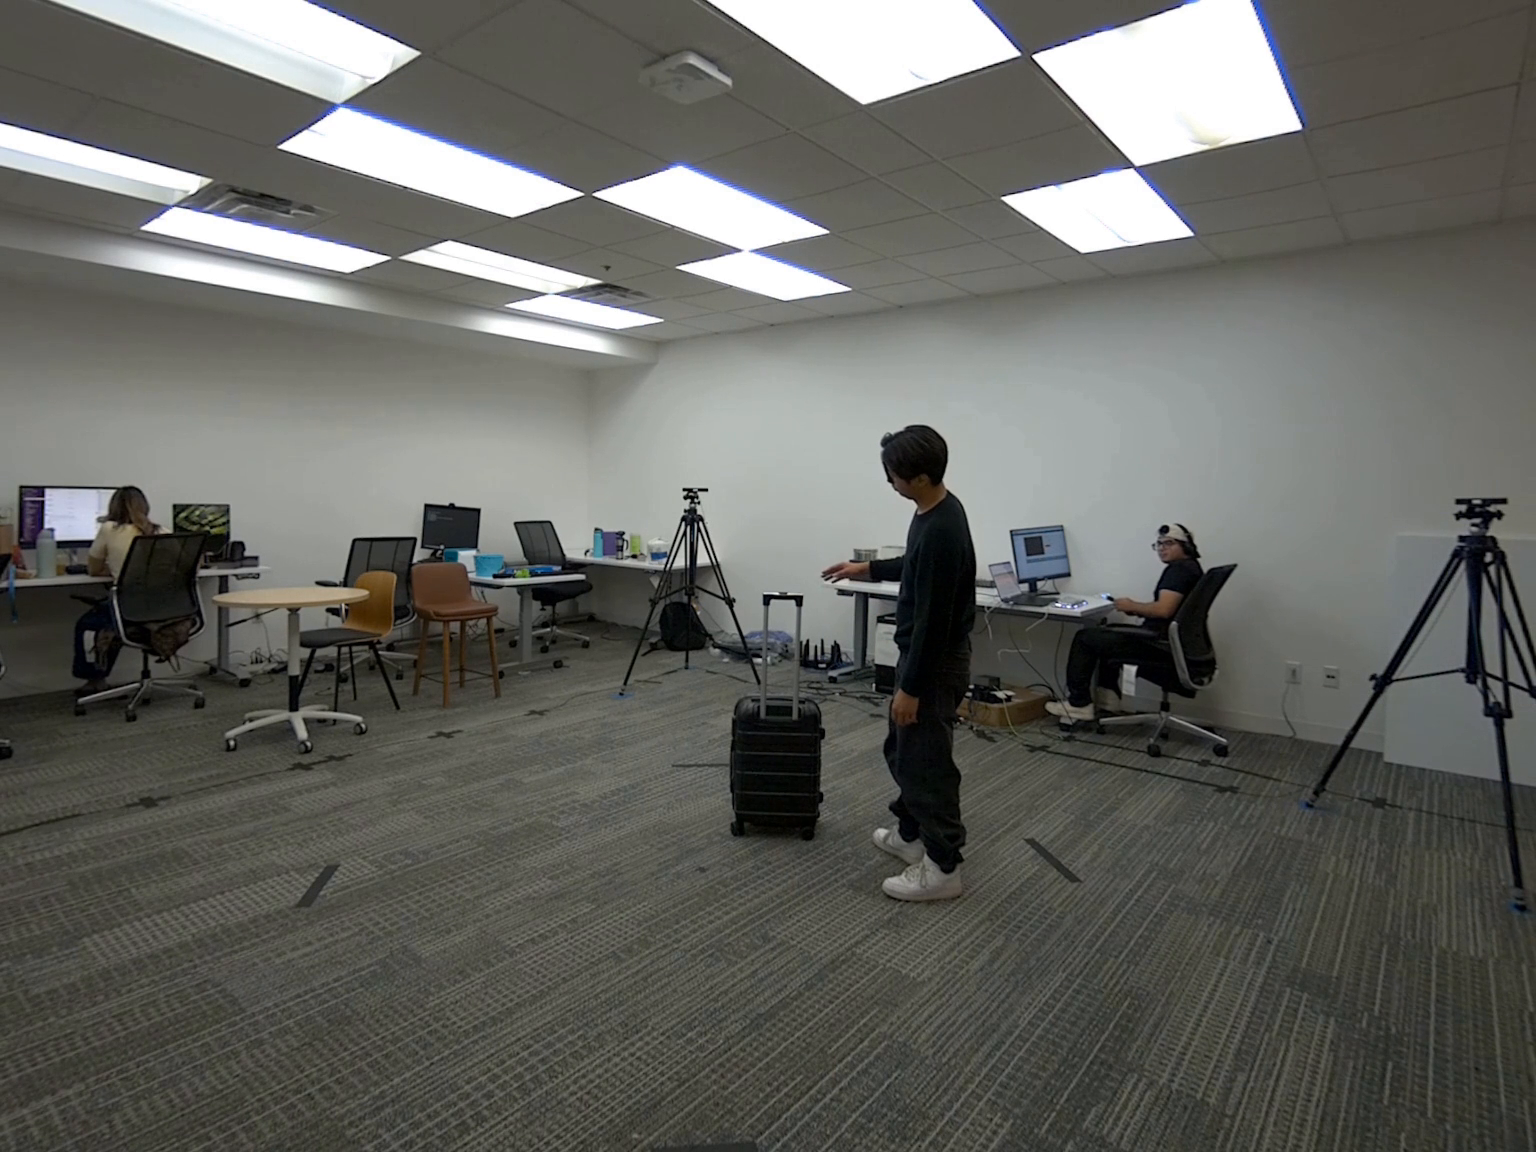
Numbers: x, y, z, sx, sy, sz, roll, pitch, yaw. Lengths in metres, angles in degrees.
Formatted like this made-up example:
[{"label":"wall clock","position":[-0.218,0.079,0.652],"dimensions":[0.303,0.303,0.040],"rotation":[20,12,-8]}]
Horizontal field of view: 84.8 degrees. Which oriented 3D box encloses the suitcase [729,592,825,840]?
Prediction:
[{"label":"suitcase","position":[0.030,0.555,3.498],"dimensions":[0.384,0.977,0.257],"rotation":[1,1,0]}]
